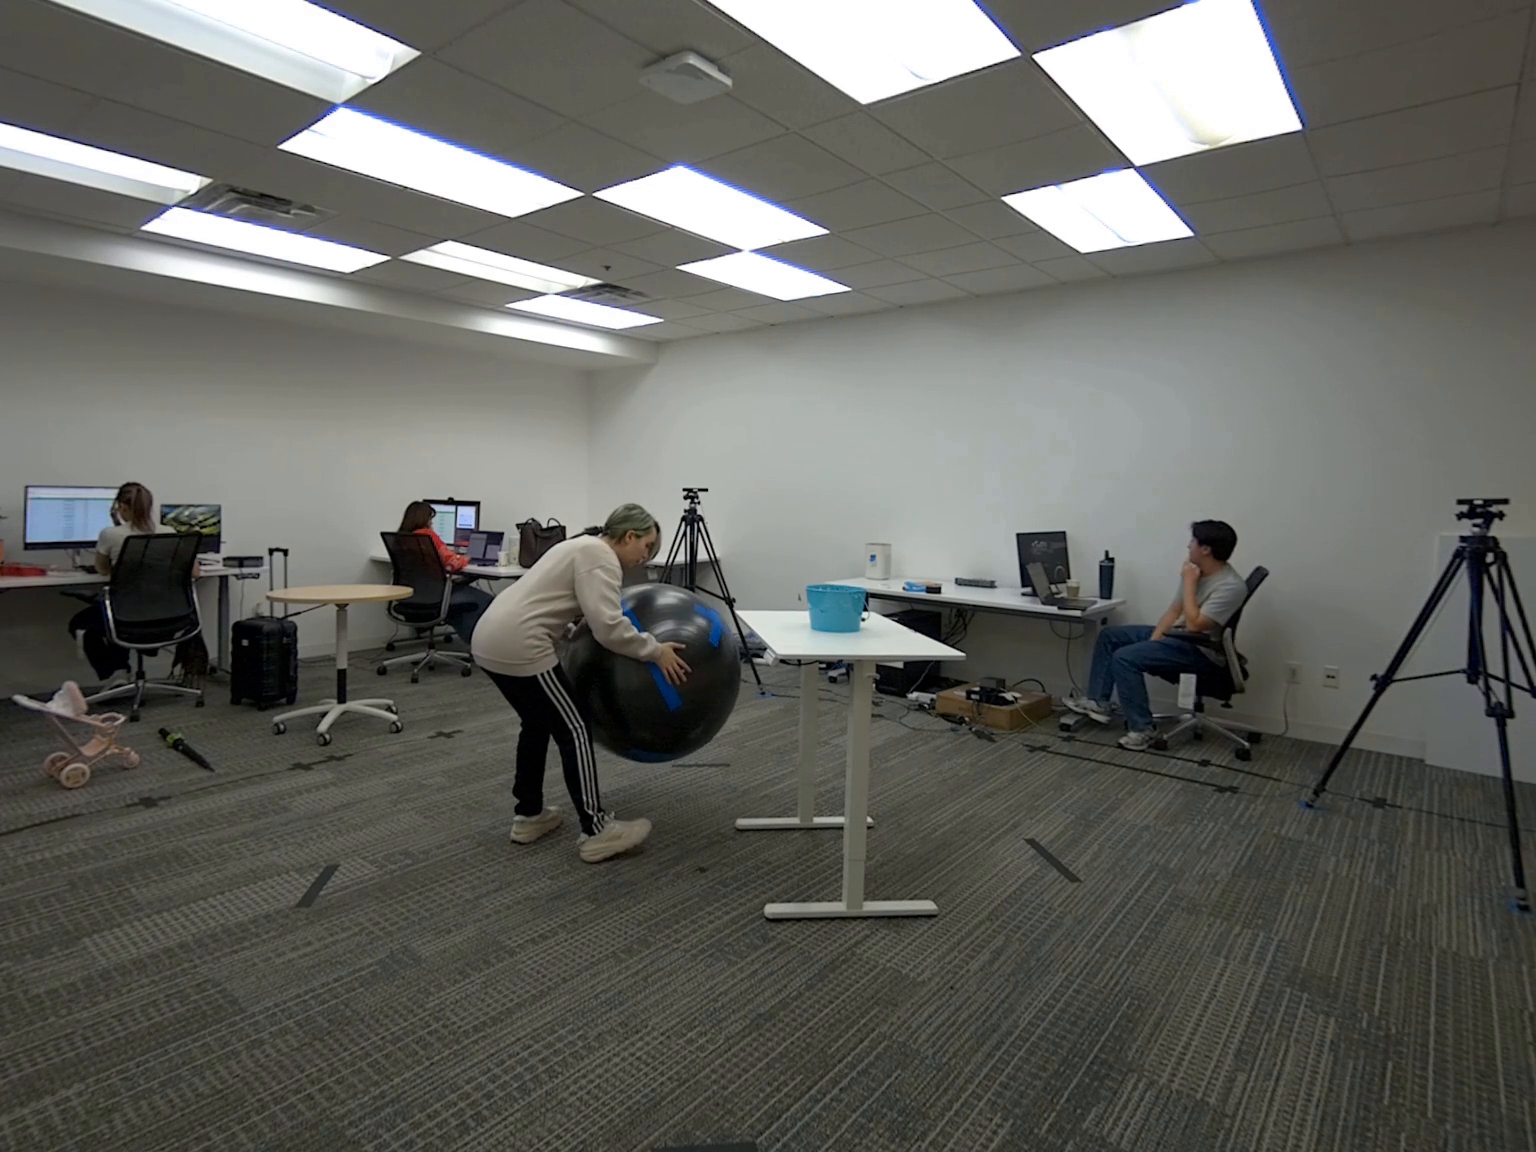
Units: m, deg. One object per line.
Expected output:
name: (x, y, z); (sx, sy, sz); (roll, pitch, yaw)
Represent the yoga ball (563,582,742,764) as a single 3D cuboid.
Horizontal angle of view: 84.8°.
yoga ball: (-0.510, 0.406, 3.647); (0.757, 0.755, 0.762); (1, 4, -2)
